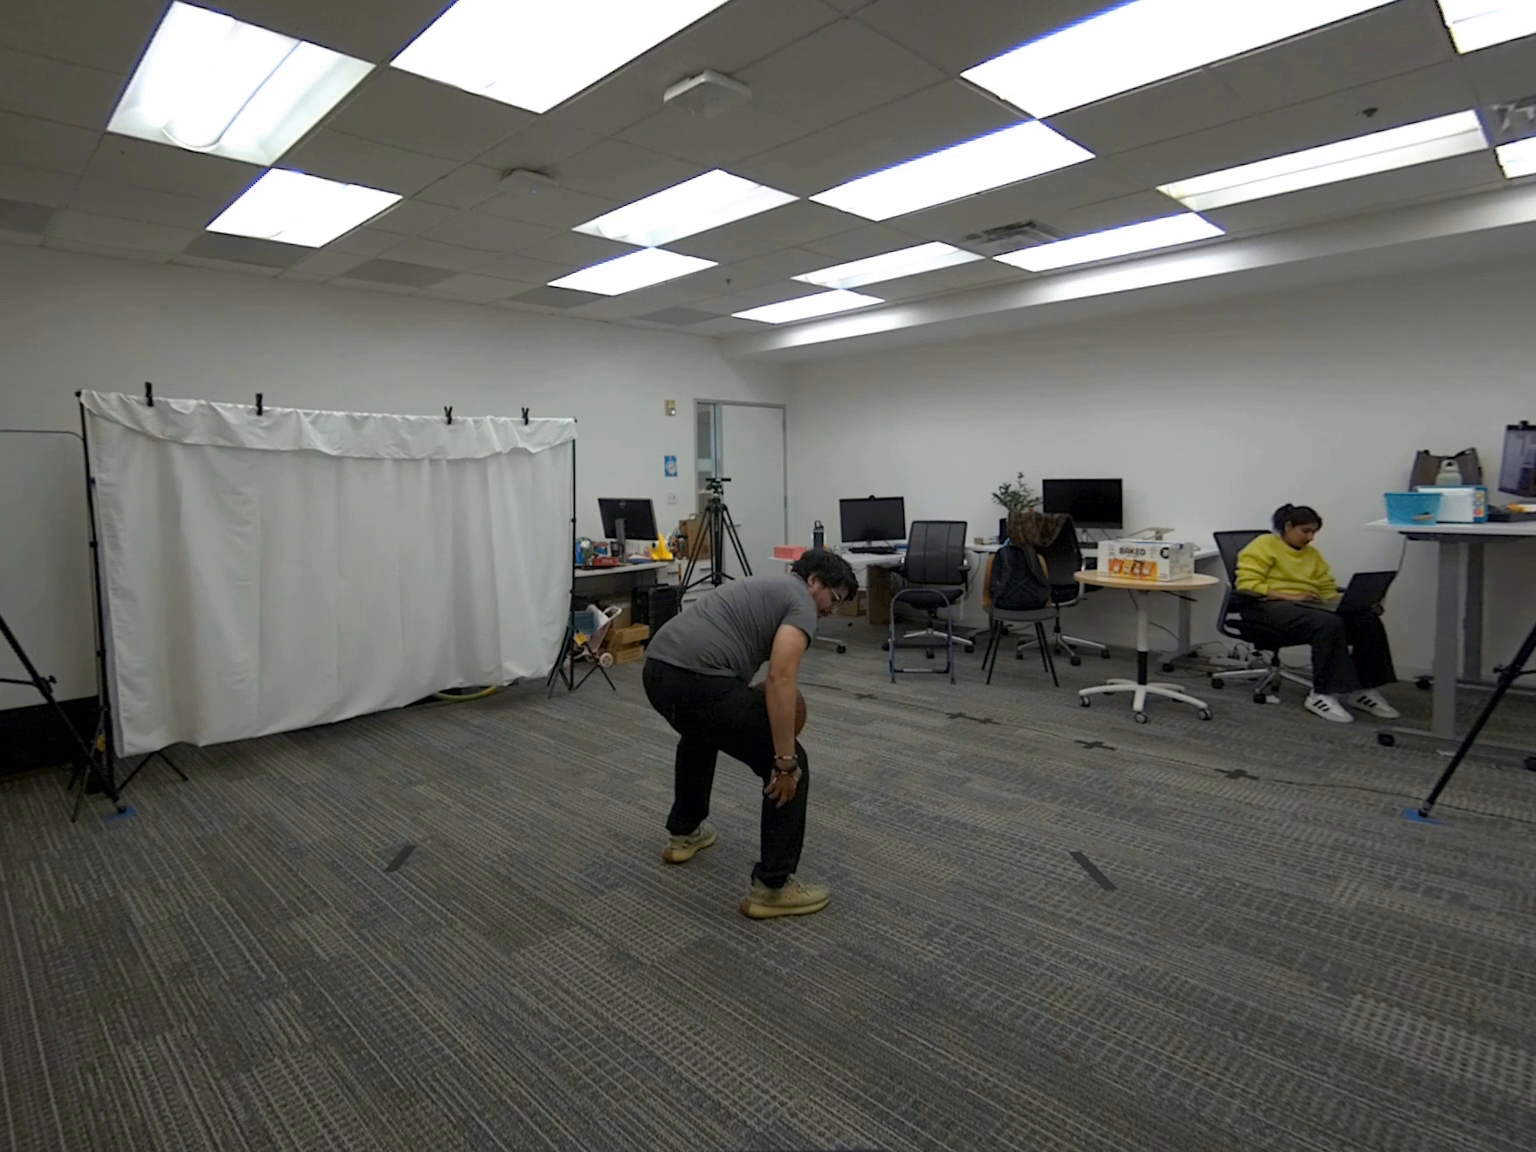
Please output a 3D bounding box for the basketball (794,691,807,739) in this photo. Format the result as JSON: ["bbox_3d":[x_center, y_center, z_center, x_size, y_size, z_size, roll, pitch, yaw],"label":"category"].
[{"bbox_3d":[0.028,0.491,3.130,0.236,0.235,0.237,-1,5,-2],"label":"basketball"}]
